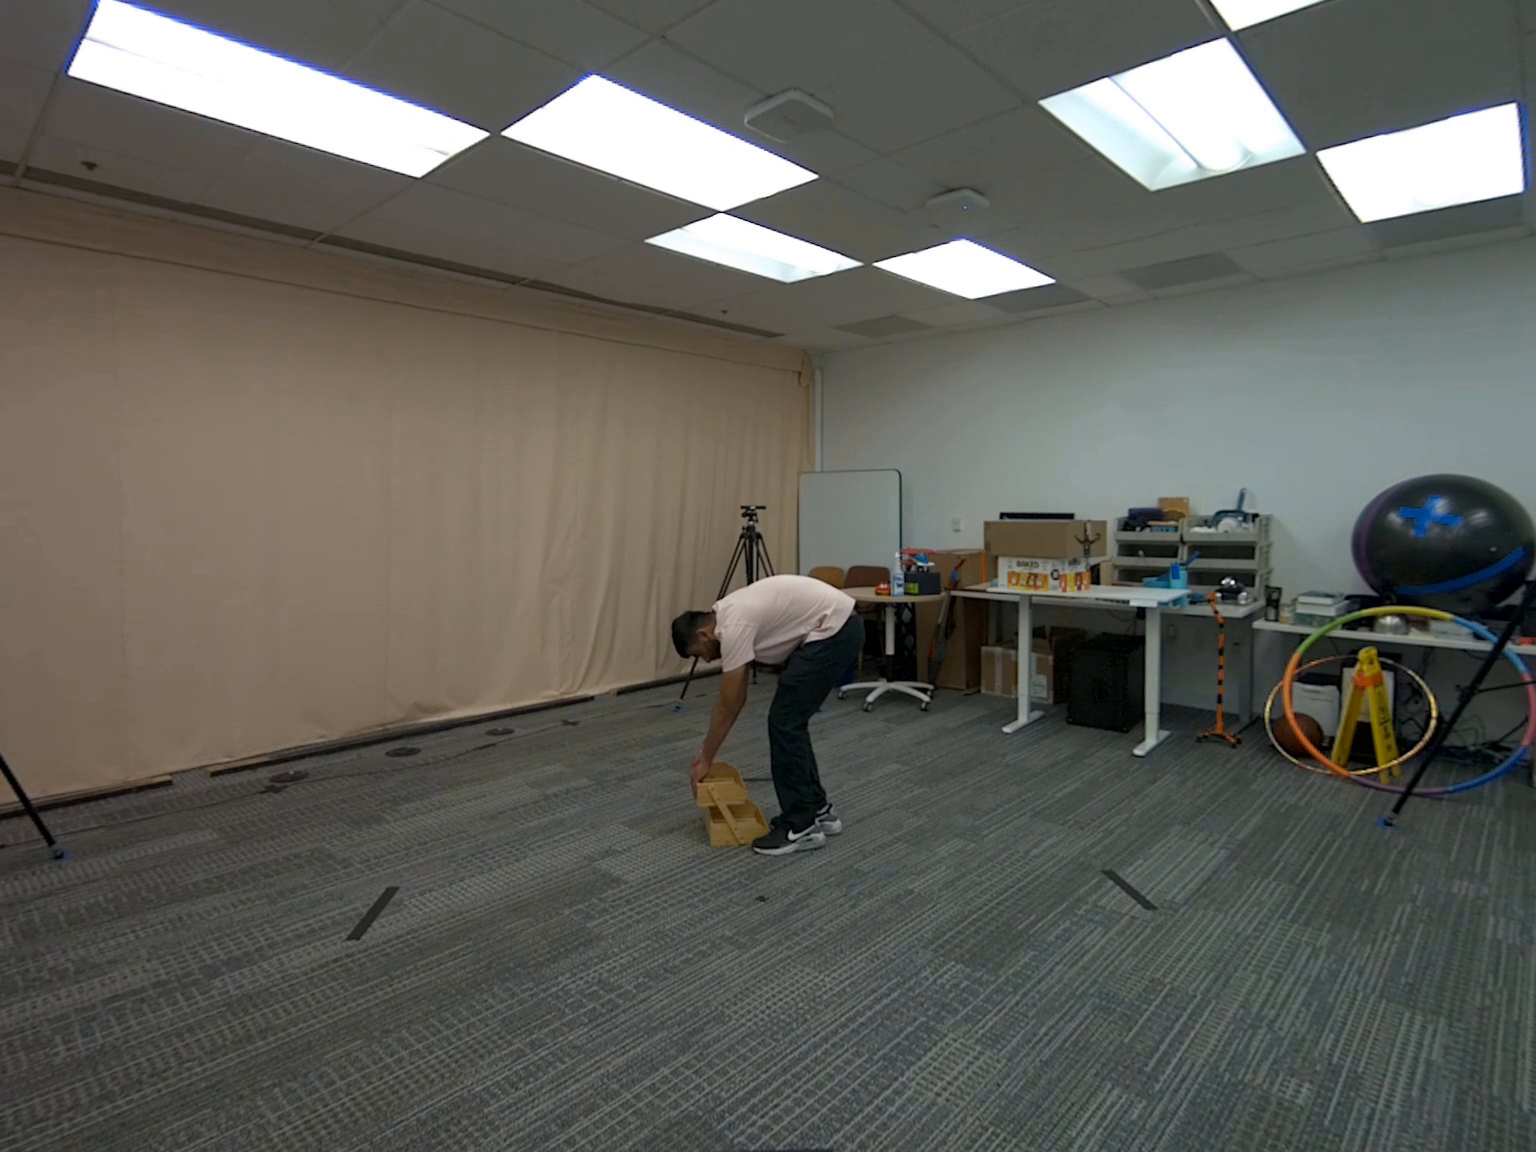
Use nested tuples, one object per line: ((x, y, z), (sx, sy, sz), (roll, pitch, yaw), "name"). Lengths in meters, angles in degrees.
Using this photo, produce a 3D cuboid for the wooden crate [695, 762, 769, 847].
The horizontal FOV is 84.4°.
((-0.160, 0.958, 3.602), (0.299, 0.273, 0.328), (-3, 4, -9), "wooden crate")
